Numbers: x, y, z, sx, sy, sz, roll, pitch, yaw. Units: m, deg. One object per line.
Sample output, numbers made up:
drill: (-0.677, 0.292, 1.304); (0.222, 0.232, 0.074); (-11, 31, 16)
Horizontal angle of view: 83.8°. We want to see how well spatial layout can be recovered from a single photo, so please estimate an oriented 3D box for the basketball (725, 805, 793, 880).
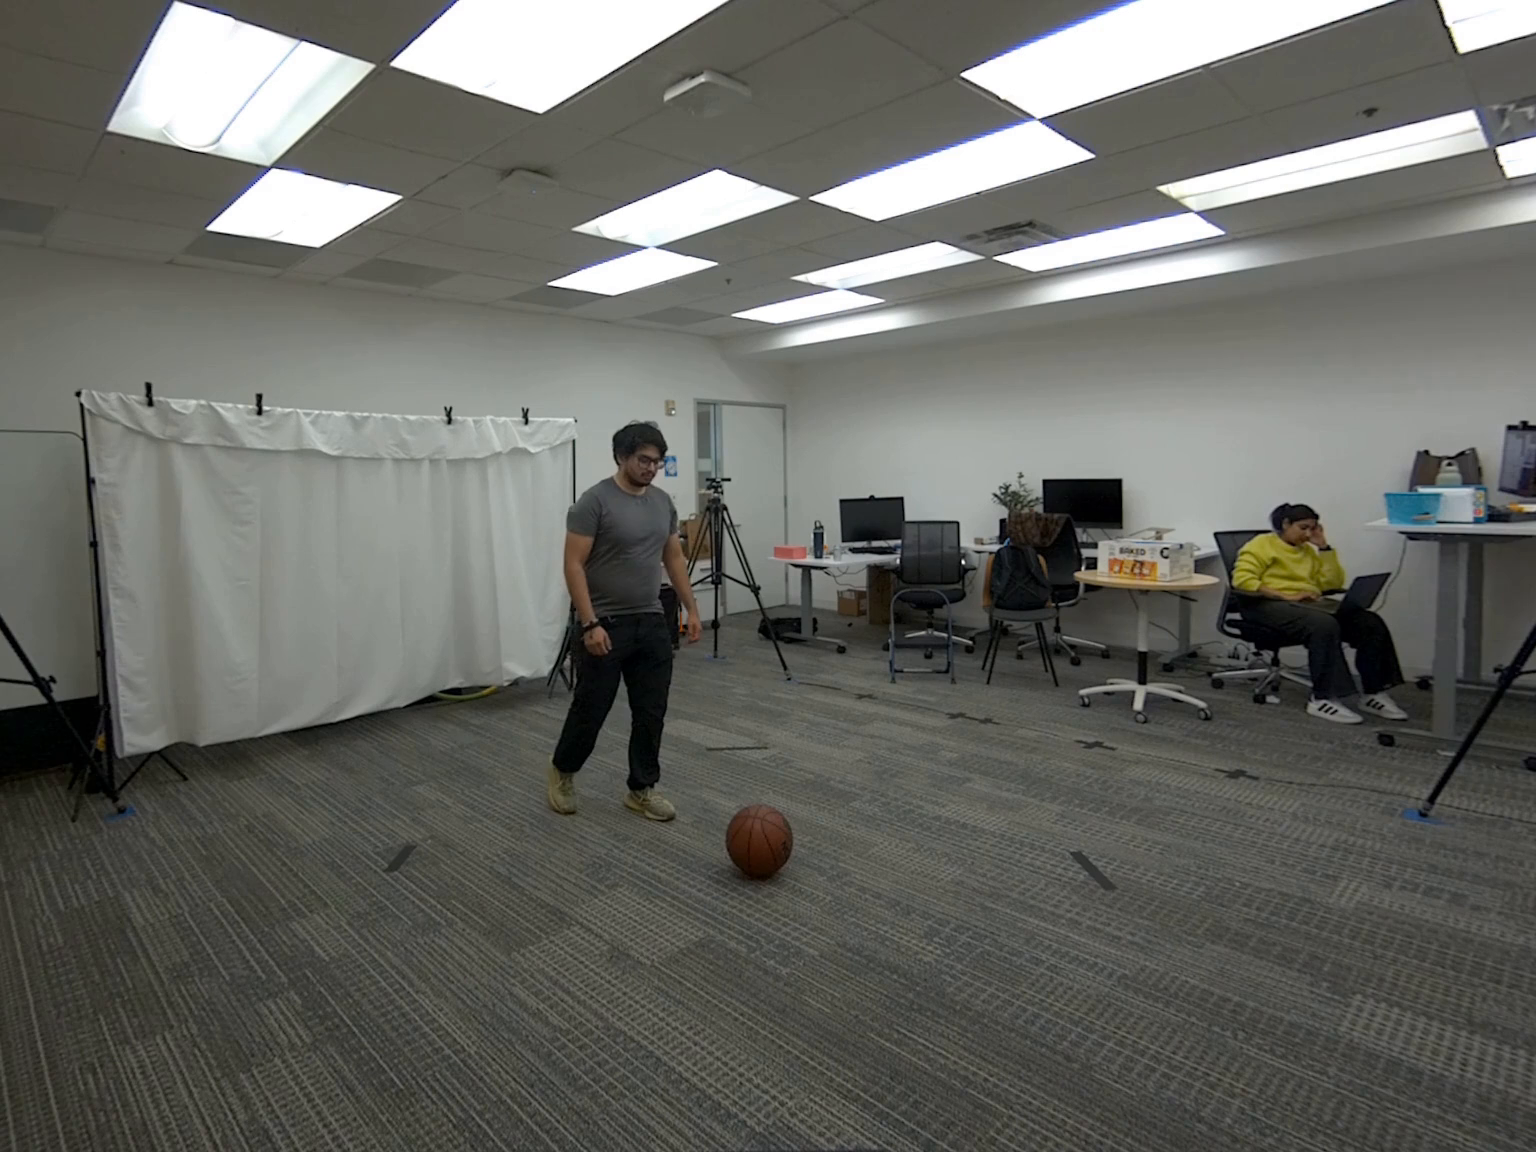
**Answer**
basketball: (-0.030, 0.929, 3.022); (0.236, 0.235, 0.237); (-1, 5, -2)
